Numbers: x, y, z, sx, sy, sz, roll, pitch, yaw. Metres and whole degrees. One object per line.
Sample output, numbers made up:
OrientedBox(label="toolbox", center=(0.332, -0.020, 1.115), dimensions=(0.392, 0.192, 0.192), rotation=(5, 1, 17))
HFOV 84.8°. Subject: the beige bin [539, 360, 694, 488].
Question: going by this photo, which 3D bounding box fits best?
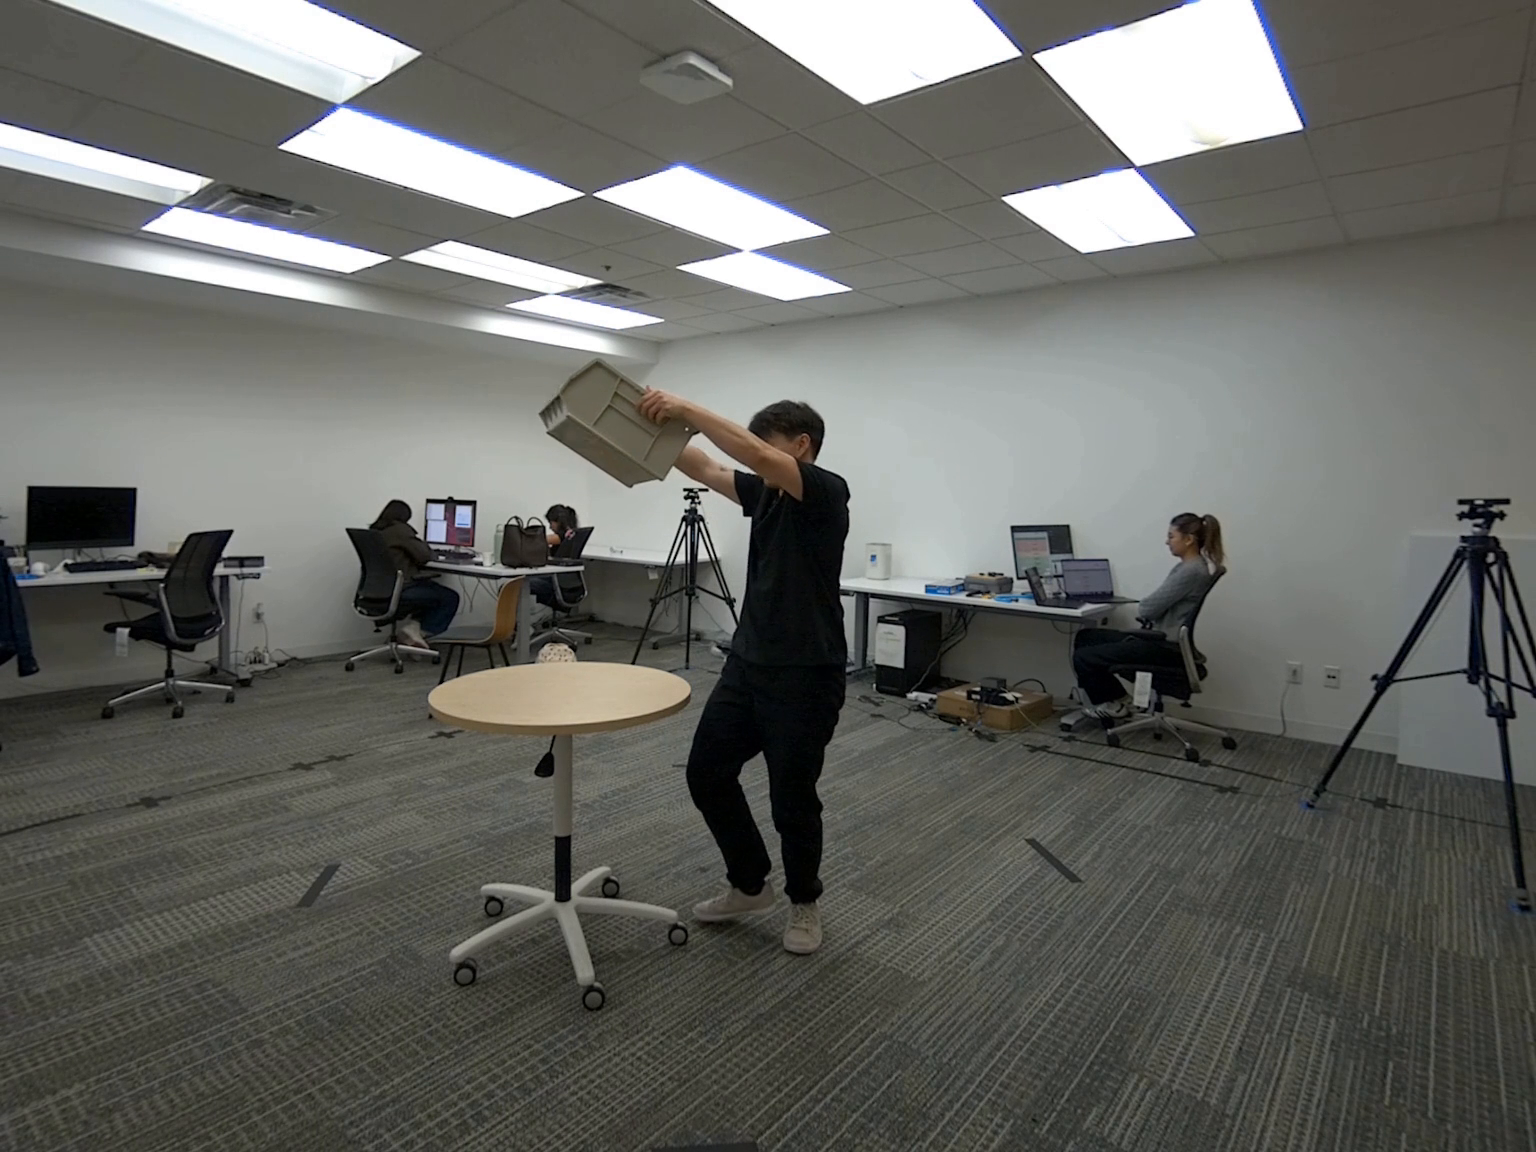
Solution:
OrientedBox(label="beige bin", center=(-0.470, -0.427, 2.479), dimensions=(0.368, 0.189, 0.431), rotation=(35, -12, -19))
